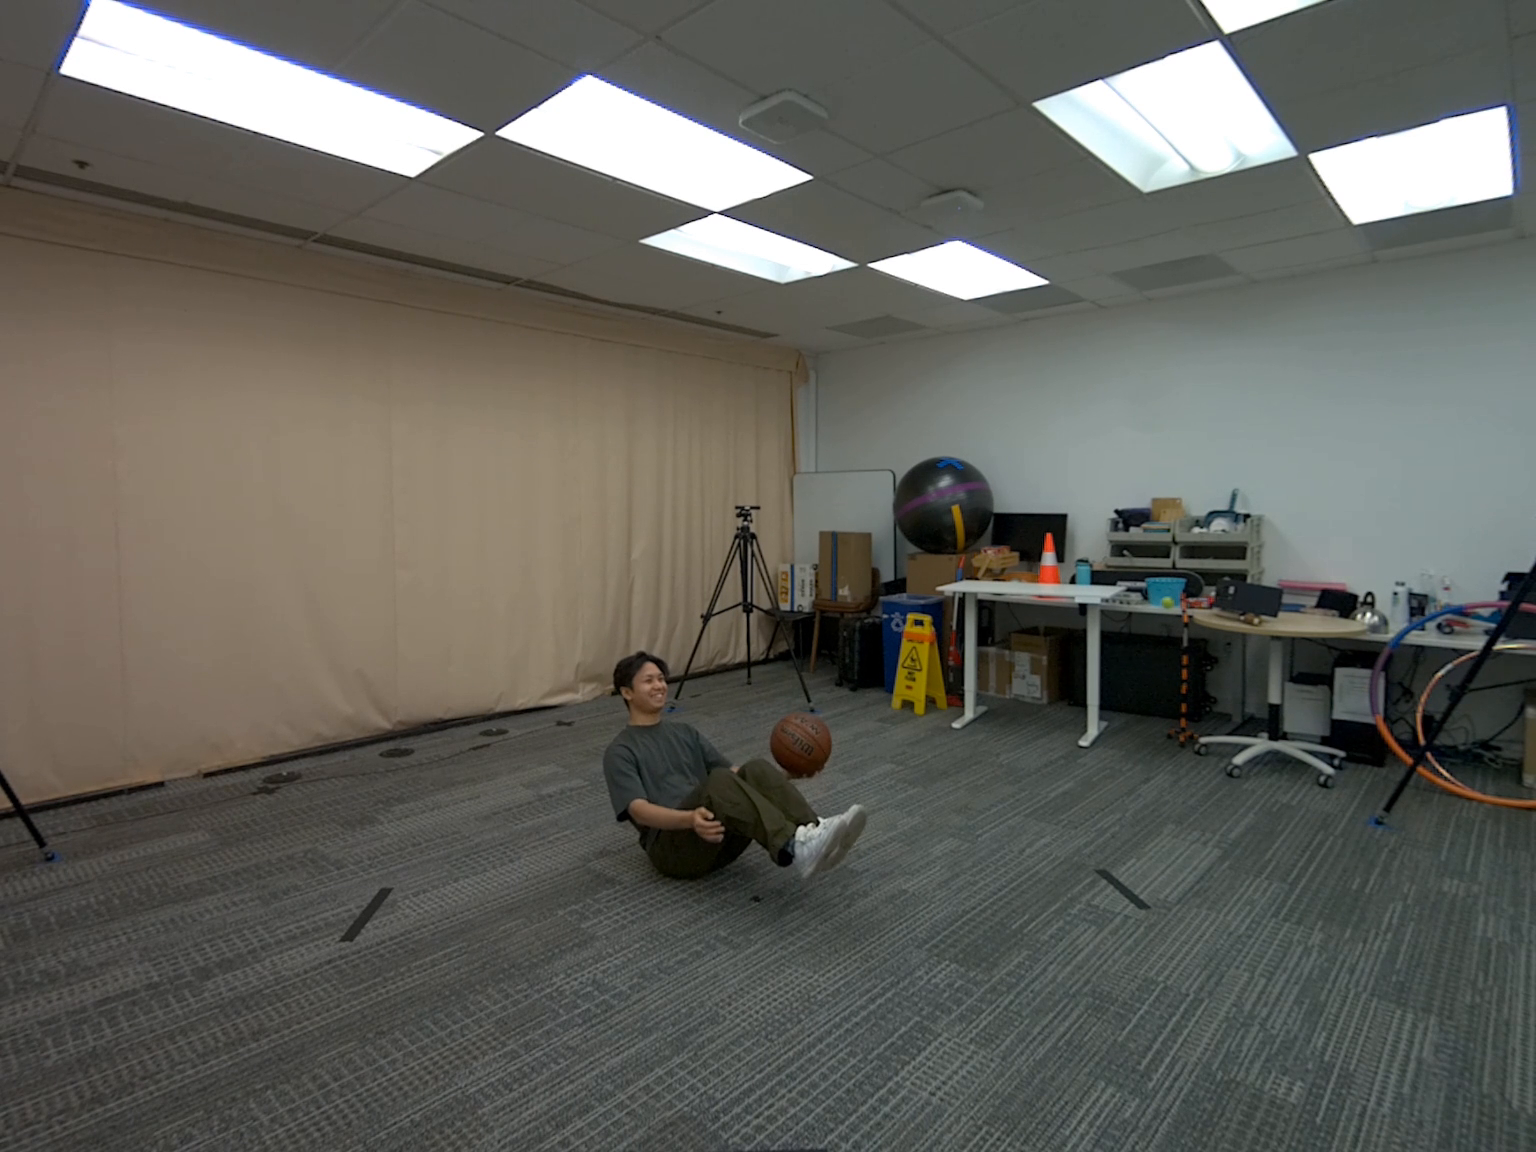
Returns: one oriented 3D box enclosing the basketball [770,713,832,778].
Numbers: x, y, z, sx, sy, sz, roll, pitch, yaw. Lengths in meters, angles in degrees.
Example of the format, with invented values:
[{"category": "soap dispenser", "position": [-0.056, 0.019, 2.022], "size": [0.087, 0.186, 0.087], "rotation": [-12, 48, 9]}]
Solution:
[{"category": "basketball", "position": [0.124, 0.654, 3.252], "size": [0.236, 0.235, 0.237], "rotation": [0, 4, -2]}]
